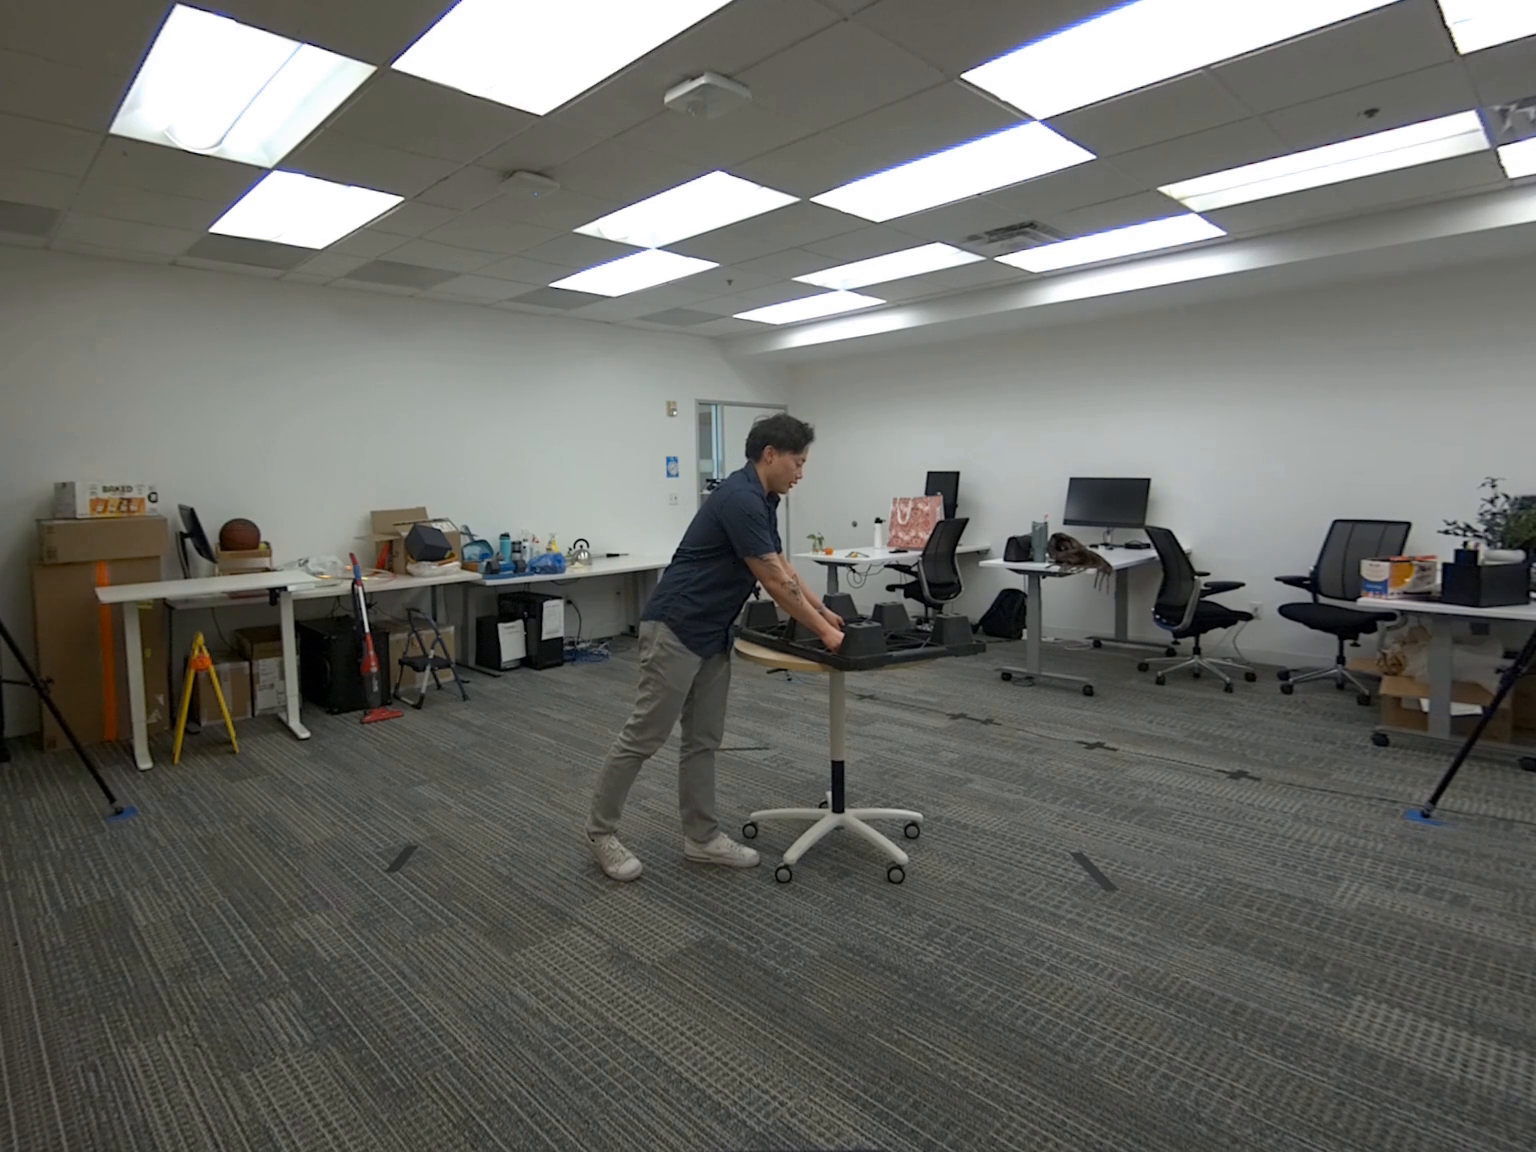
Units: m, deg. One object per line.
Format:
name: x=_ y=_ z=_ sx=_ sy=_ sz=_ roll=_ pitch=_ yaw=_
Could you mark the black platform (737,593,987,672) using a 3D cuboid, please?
black platform: x=0.309 y=0.184 z=3.158 sx=0.592 sy=0.142 sz=0.828 roll=-5 pitch=7 yaw=-29
